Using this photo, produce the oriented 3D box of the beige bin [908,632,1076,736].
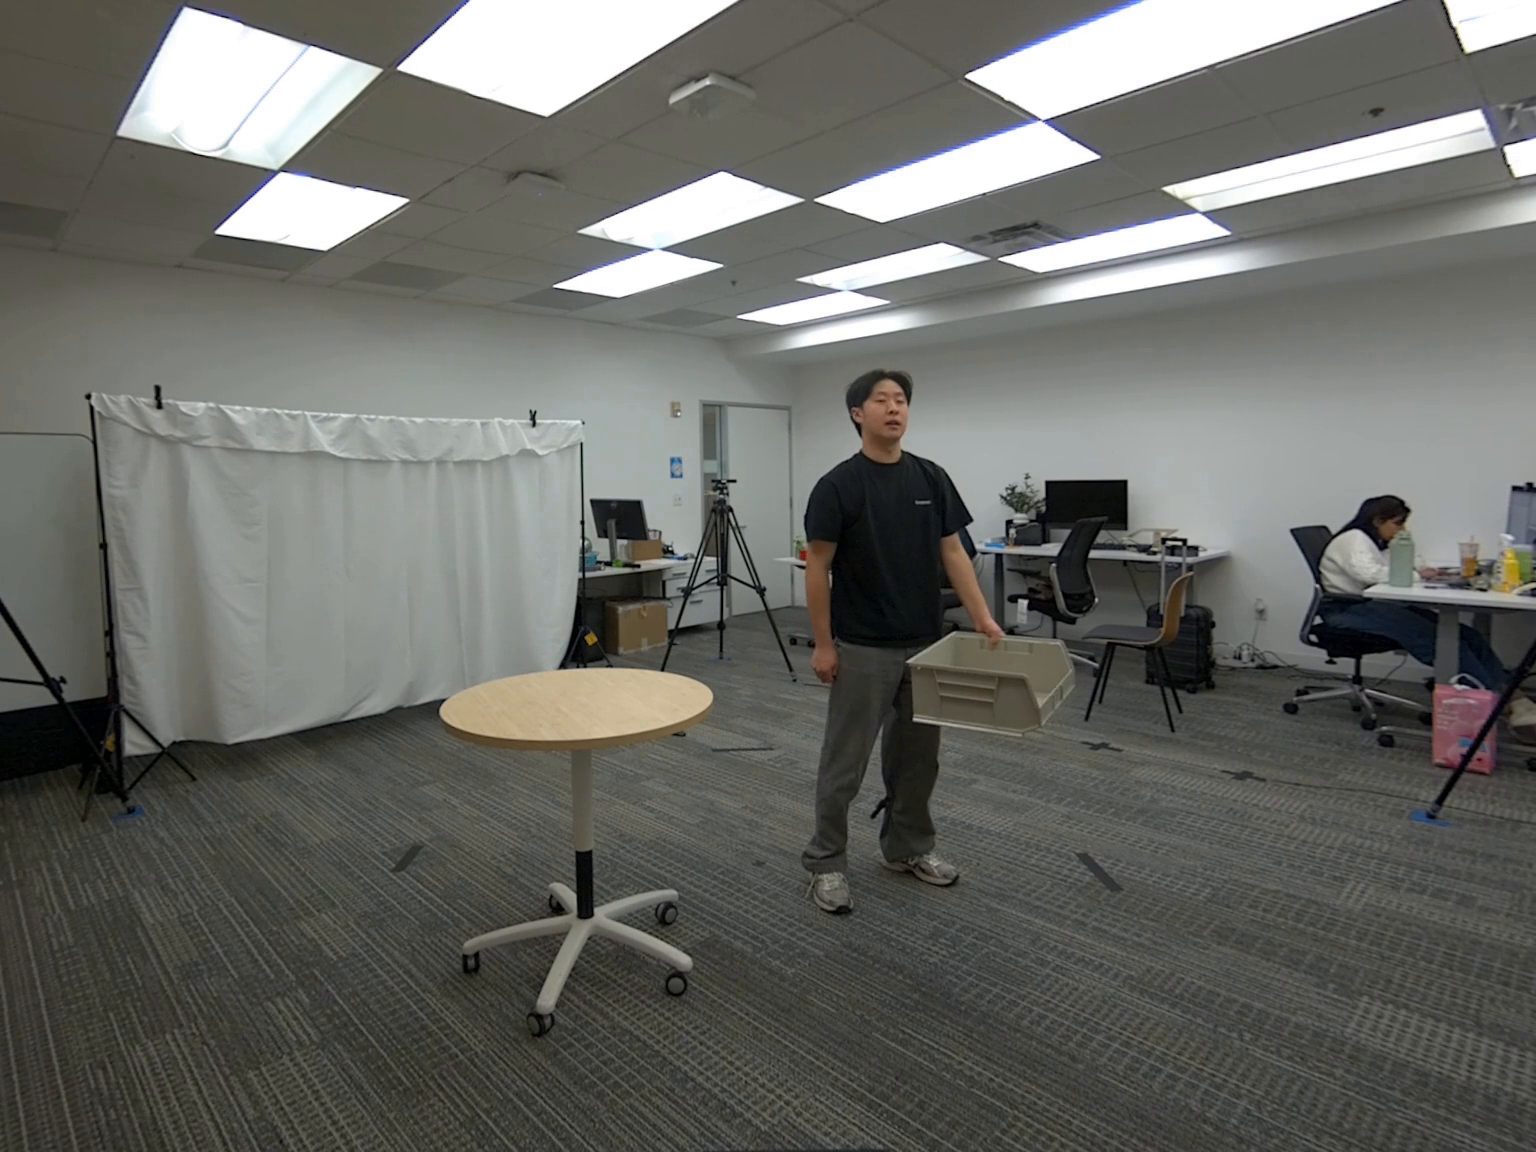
[{"bbox_3d":[0.665,0.311,2.552,0.387,0.188,0.414,0,9,32],"label":"beige bin"}]
